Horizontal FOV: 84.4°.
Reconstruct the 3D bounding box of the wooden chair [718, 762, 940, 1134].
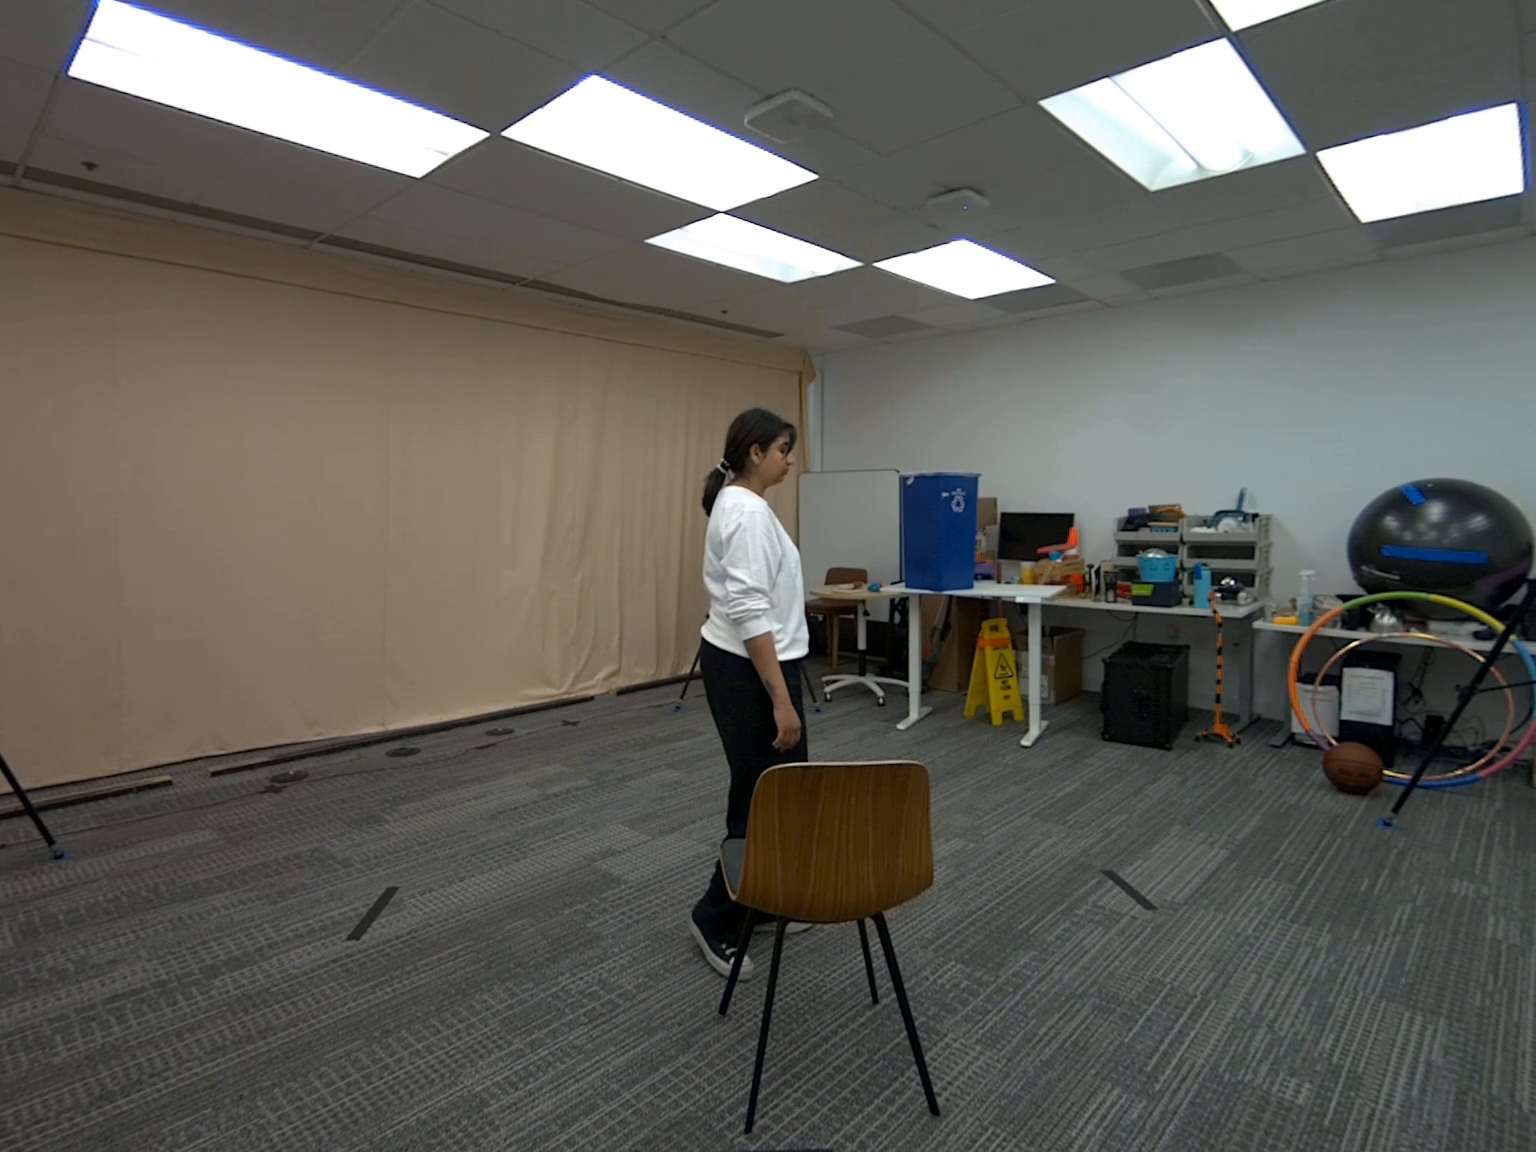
[{"bbox_3d":[0.134,0.787,2.098,0.474,0.873,0.530,-1,8,-9],"label":"wooden chair"}]
